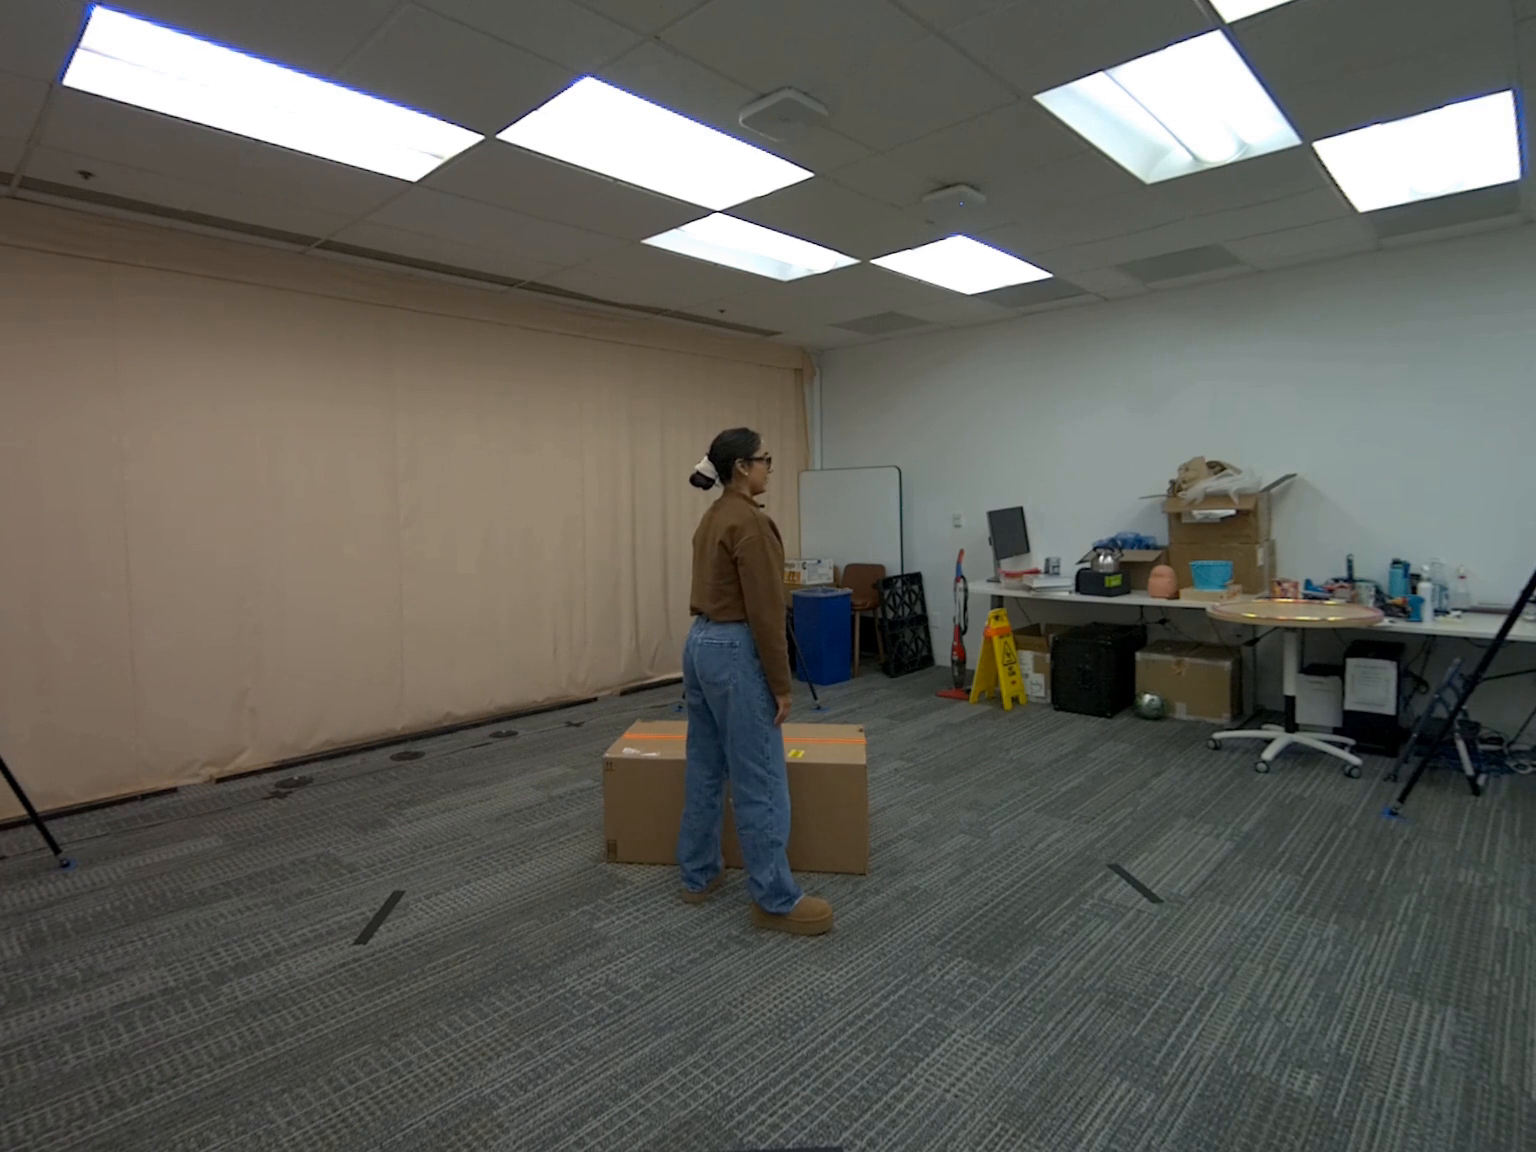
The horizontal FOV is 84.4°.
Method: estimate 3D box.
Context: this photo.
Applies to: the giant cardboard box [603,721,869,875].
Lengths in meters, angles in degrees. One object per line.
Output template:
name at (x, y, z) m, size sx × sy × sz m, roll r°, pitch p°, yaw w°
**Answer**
giant cardboard box at (-0.110, 0.882, 3.500) m, size 1.035 × 0.425 × 0.574 m, roll 0°, pitch 5°, yaw 8°
